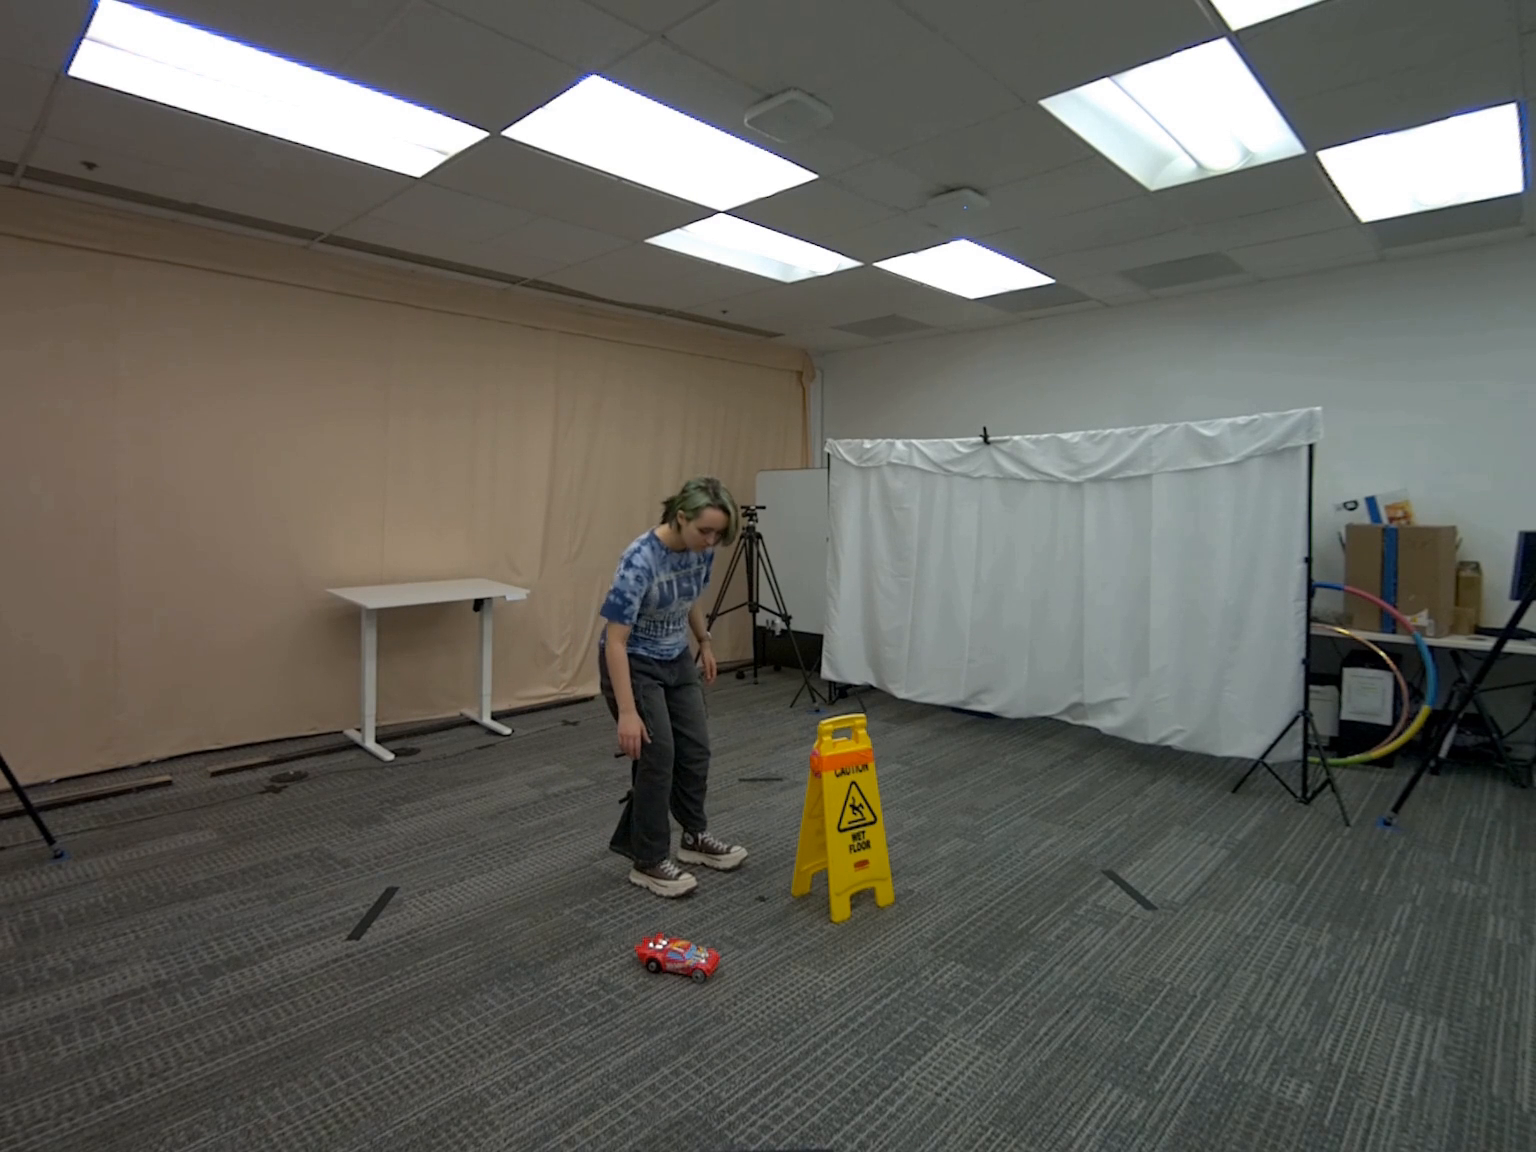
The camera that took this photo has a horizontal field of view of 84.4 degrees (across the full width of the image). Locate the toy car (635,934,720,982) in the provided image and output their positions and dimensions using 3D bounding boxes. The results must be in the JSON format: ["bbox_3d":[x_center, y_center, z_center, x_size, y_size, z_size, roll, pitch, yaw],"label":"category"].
[{"bbox_3d":[-0.276,1.155,2.530,0.260,0.083,0.128,12,9,19],"label":"toy car"}]
